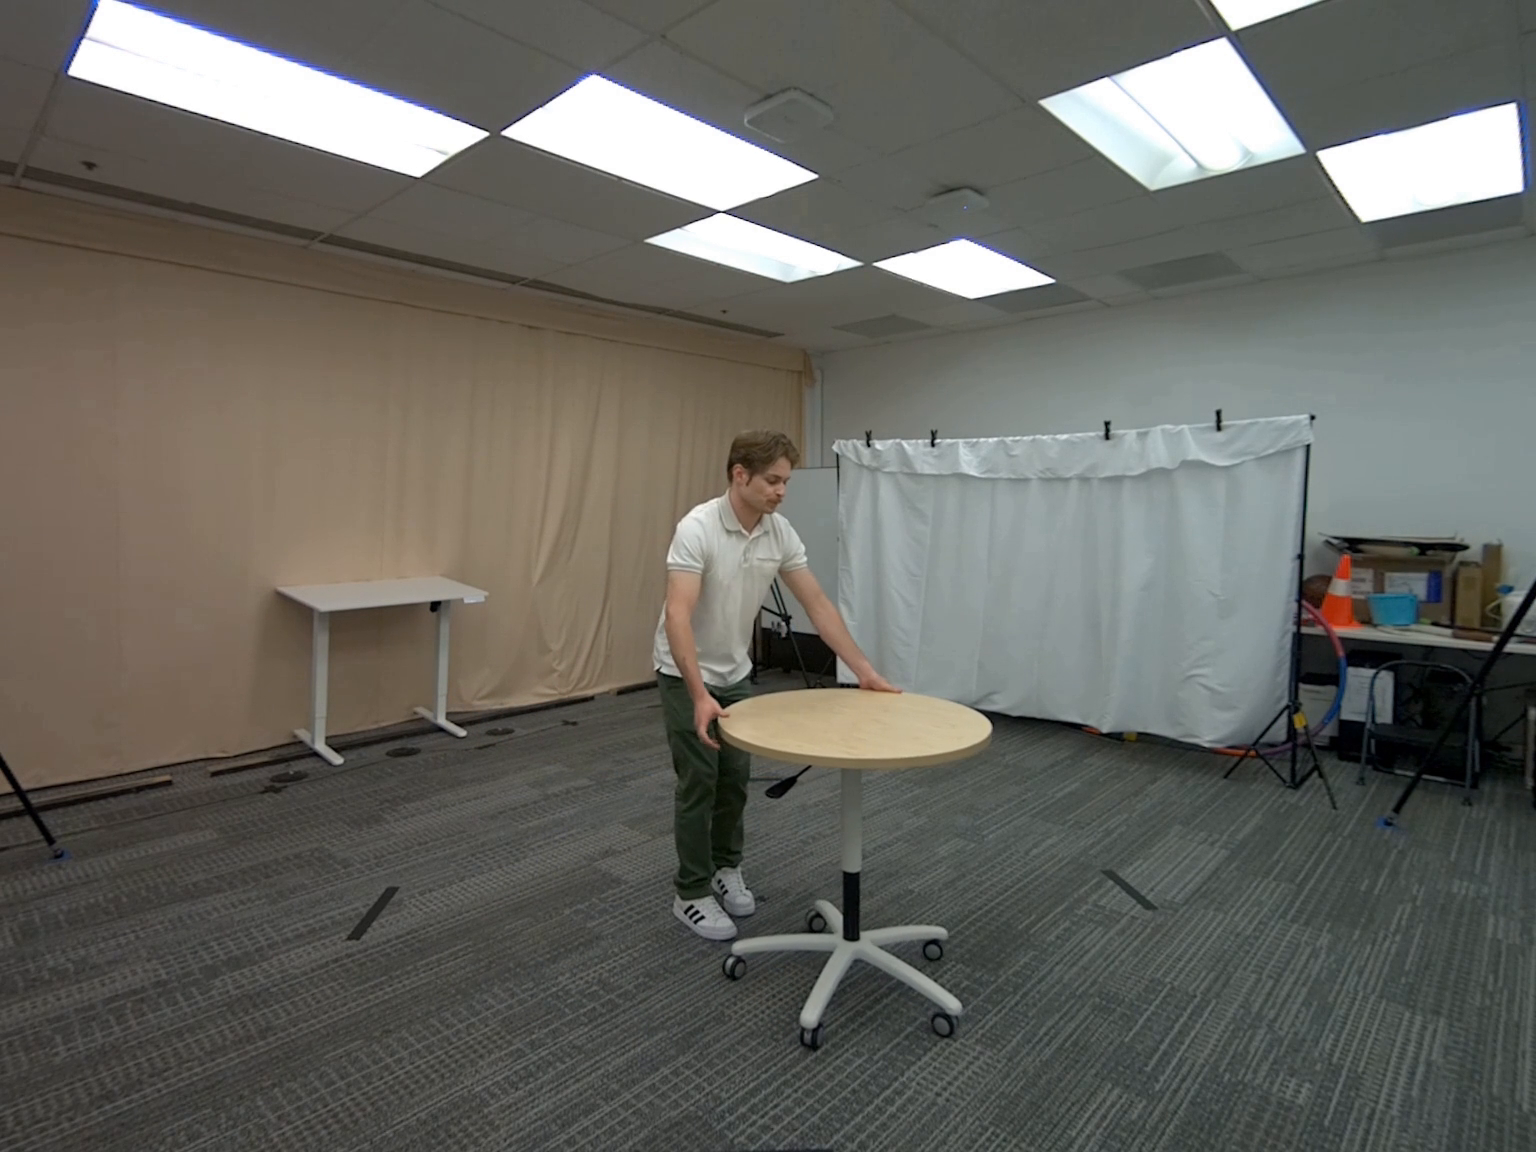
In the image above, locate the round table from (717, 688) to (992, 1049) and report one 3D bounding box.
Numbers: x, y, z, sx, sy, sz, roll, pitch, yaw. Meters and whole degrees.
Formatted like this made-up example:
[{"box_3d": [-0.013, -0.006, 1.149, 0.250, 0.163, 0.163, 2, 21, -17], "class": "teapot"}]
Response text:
[{"box_3d": [0.245, 0.804, 2.421, 0.763, 0.792, 0.767, 0, 4, -2], "class": "round table"}]
